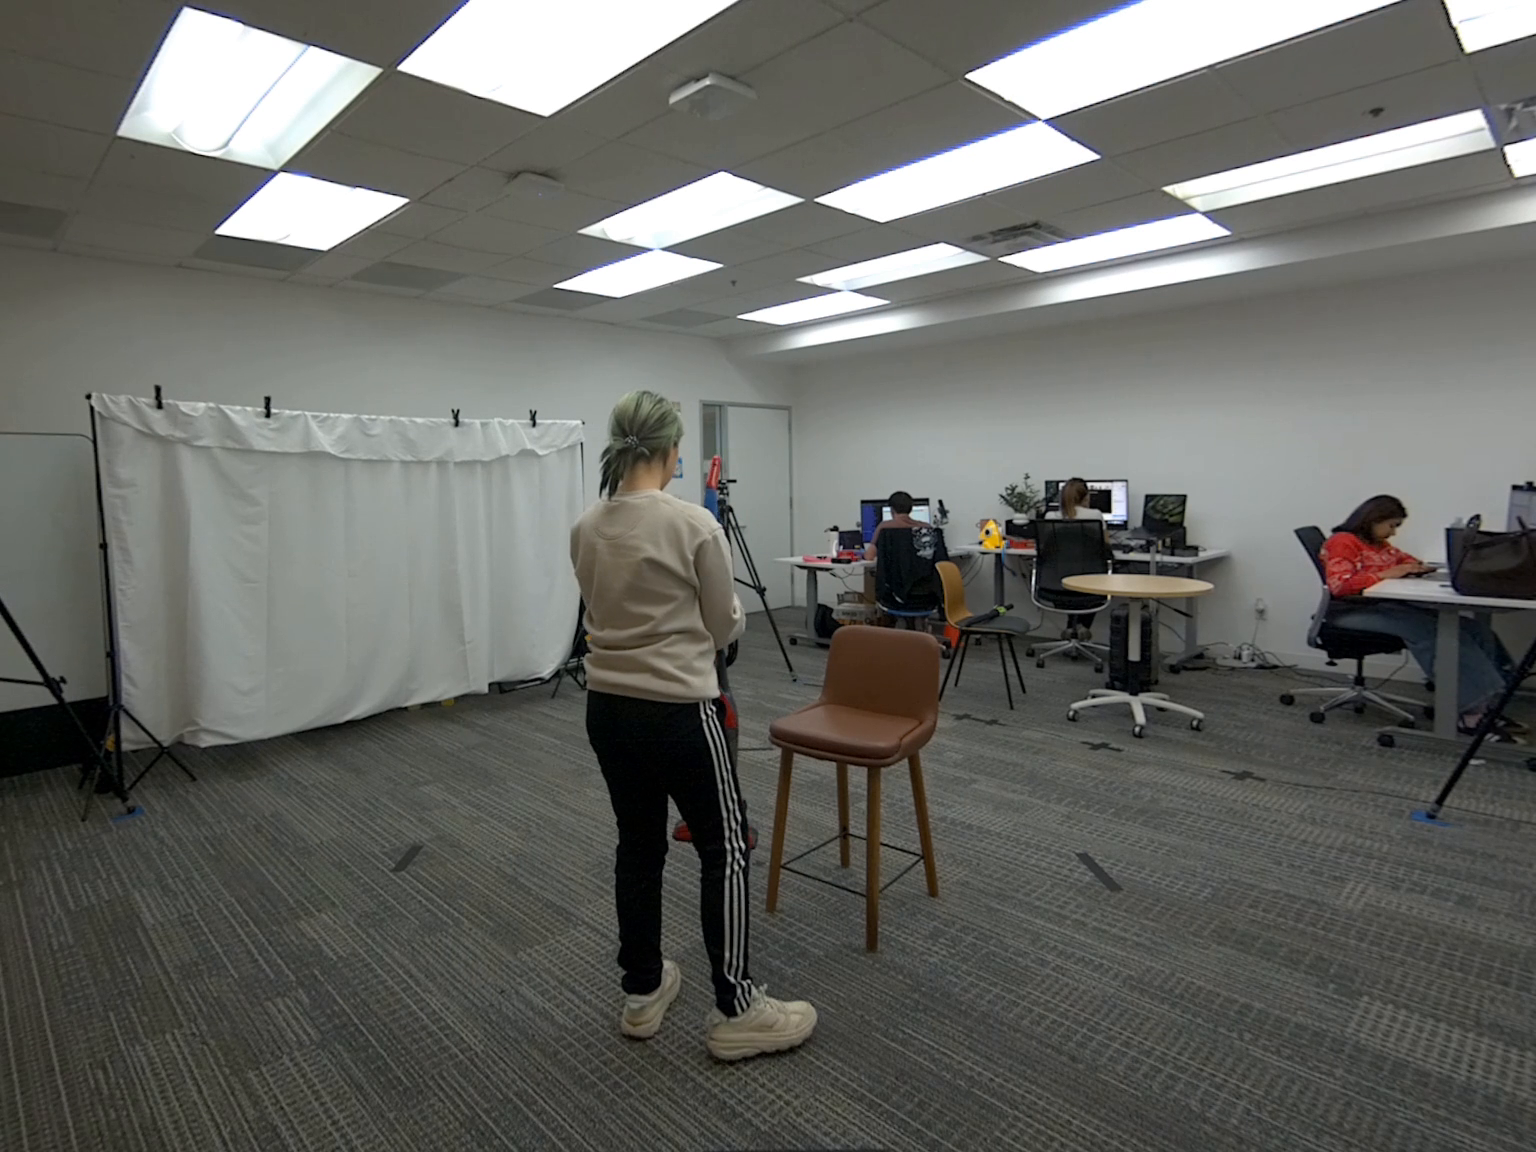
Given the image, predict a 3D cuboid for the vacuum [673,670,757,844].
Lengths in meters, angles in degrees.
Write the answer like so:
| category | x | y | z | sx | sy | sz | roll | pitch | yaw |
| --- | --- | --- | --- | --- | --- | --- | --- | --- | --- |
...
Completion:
| category | x | y | z | sx | sy | sz | roll | pitch | yaw |
| --- | --- | --- | --- | --- | --- | --- | --- | --- | --- |
| vacuum | -0.134 | 0.184 | 2.470 | 0.256 | 1.052 | 0.142 | -1 | -3 | 13 |
